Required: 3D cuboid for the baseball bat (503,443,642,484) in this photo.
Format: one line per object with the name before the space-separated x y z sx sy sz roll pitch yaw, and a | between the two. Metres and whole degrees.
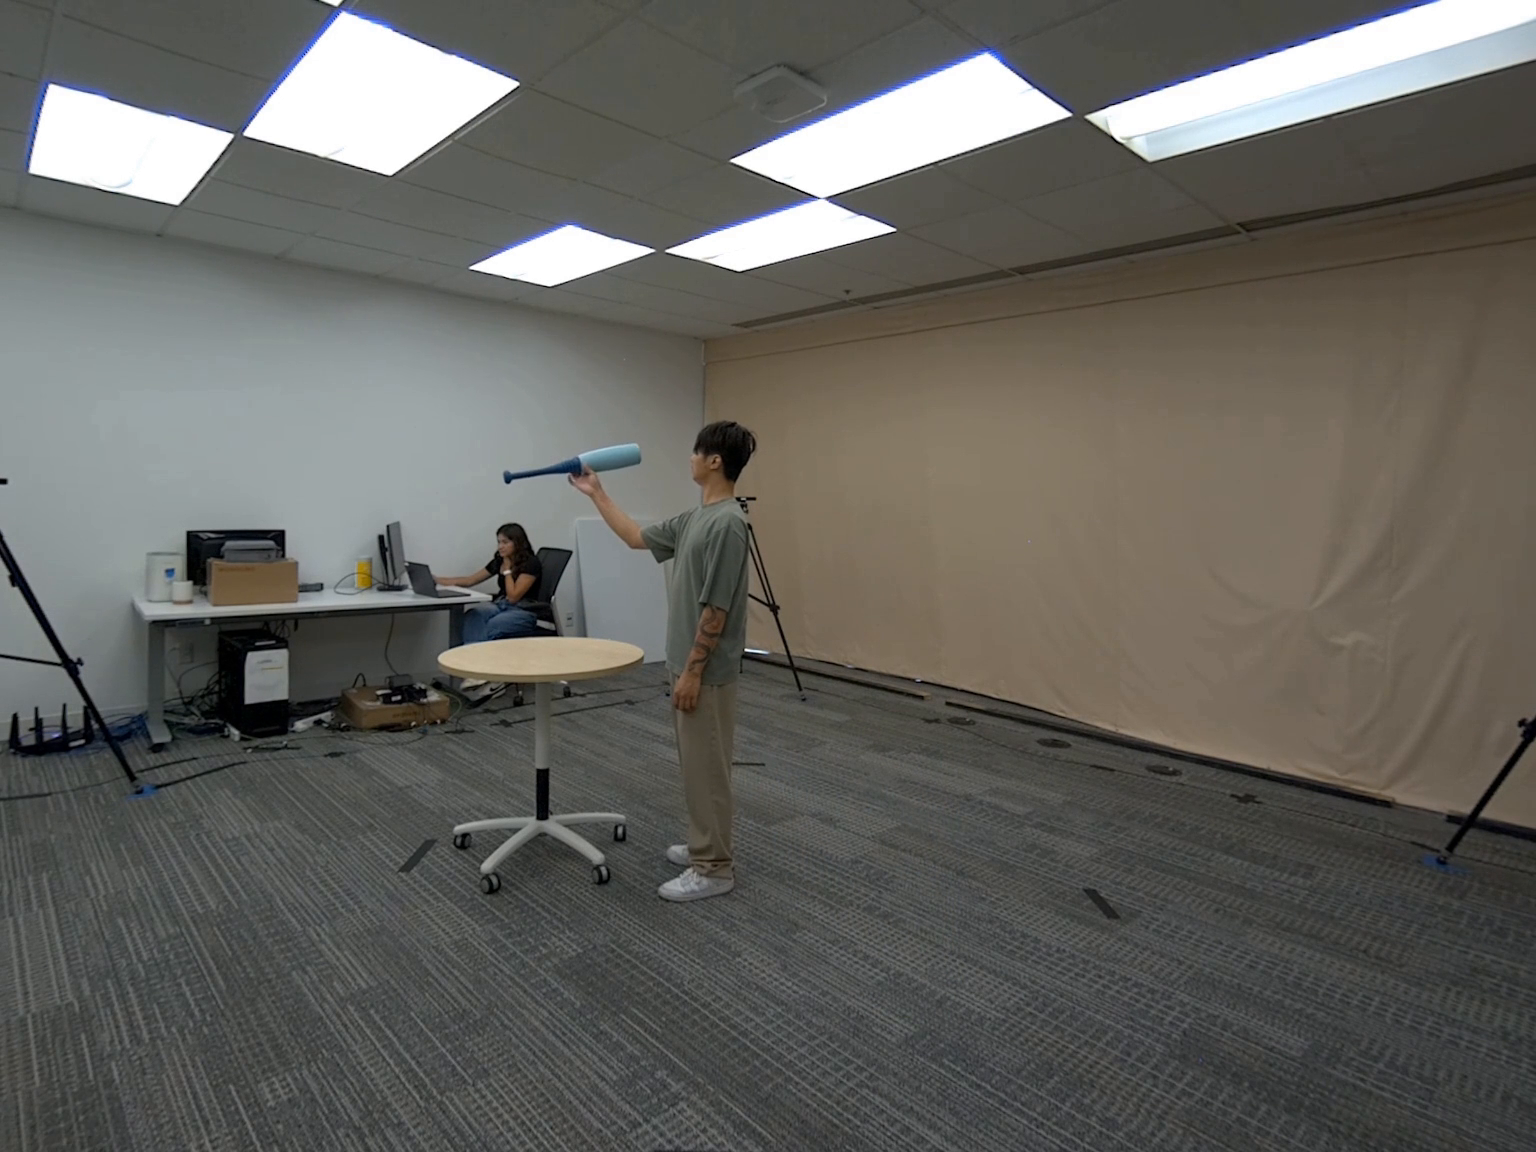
baseball bat | -0.762 -0.428 3.268 0.536 0.088 0.091 -15 11 -24
